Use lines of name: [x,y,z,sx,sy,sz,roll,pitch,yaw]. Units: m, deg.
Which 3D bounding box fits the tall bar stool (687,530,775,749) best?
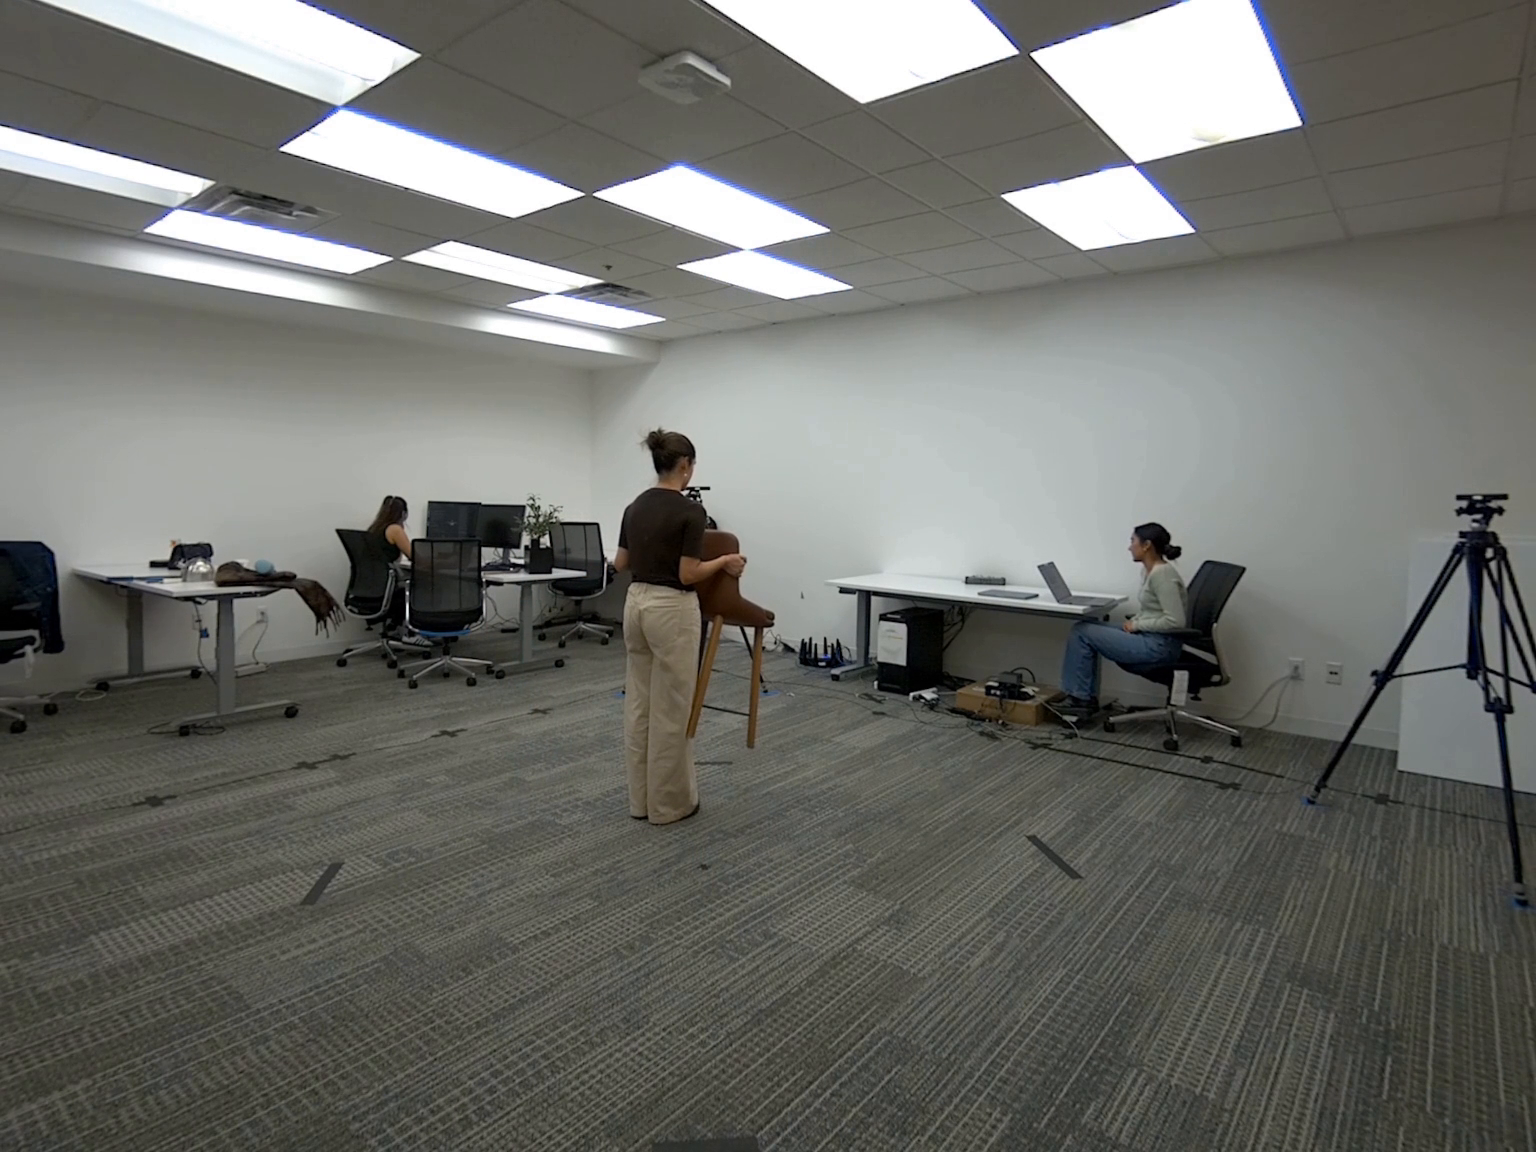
tall bar stool: [-0.277,0.277,3.821,0.471,0.897,0.449,2,-12,37]
